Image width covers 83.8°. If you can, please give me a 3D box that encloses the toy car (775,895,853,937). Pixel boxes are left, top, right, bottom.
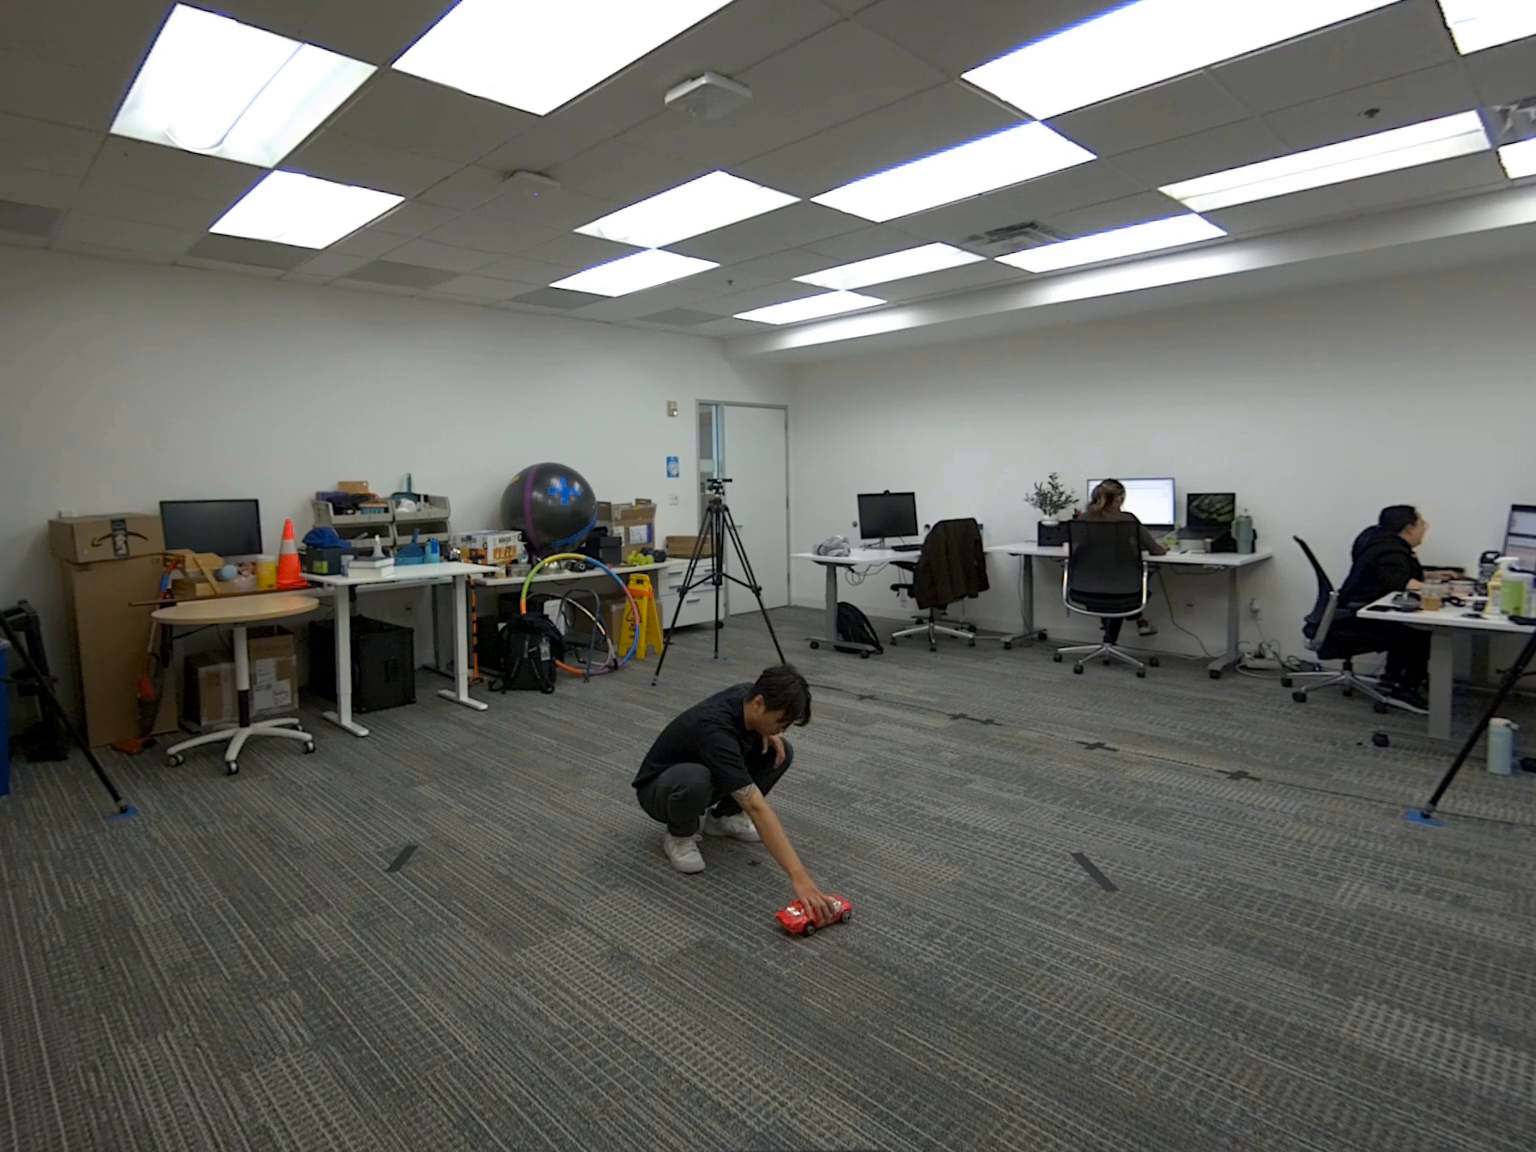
[{"bbox_3d":[0.141,1.062,2.678,0.247,0.083,0.134,7,1,-33],"label":"toy car"}]
